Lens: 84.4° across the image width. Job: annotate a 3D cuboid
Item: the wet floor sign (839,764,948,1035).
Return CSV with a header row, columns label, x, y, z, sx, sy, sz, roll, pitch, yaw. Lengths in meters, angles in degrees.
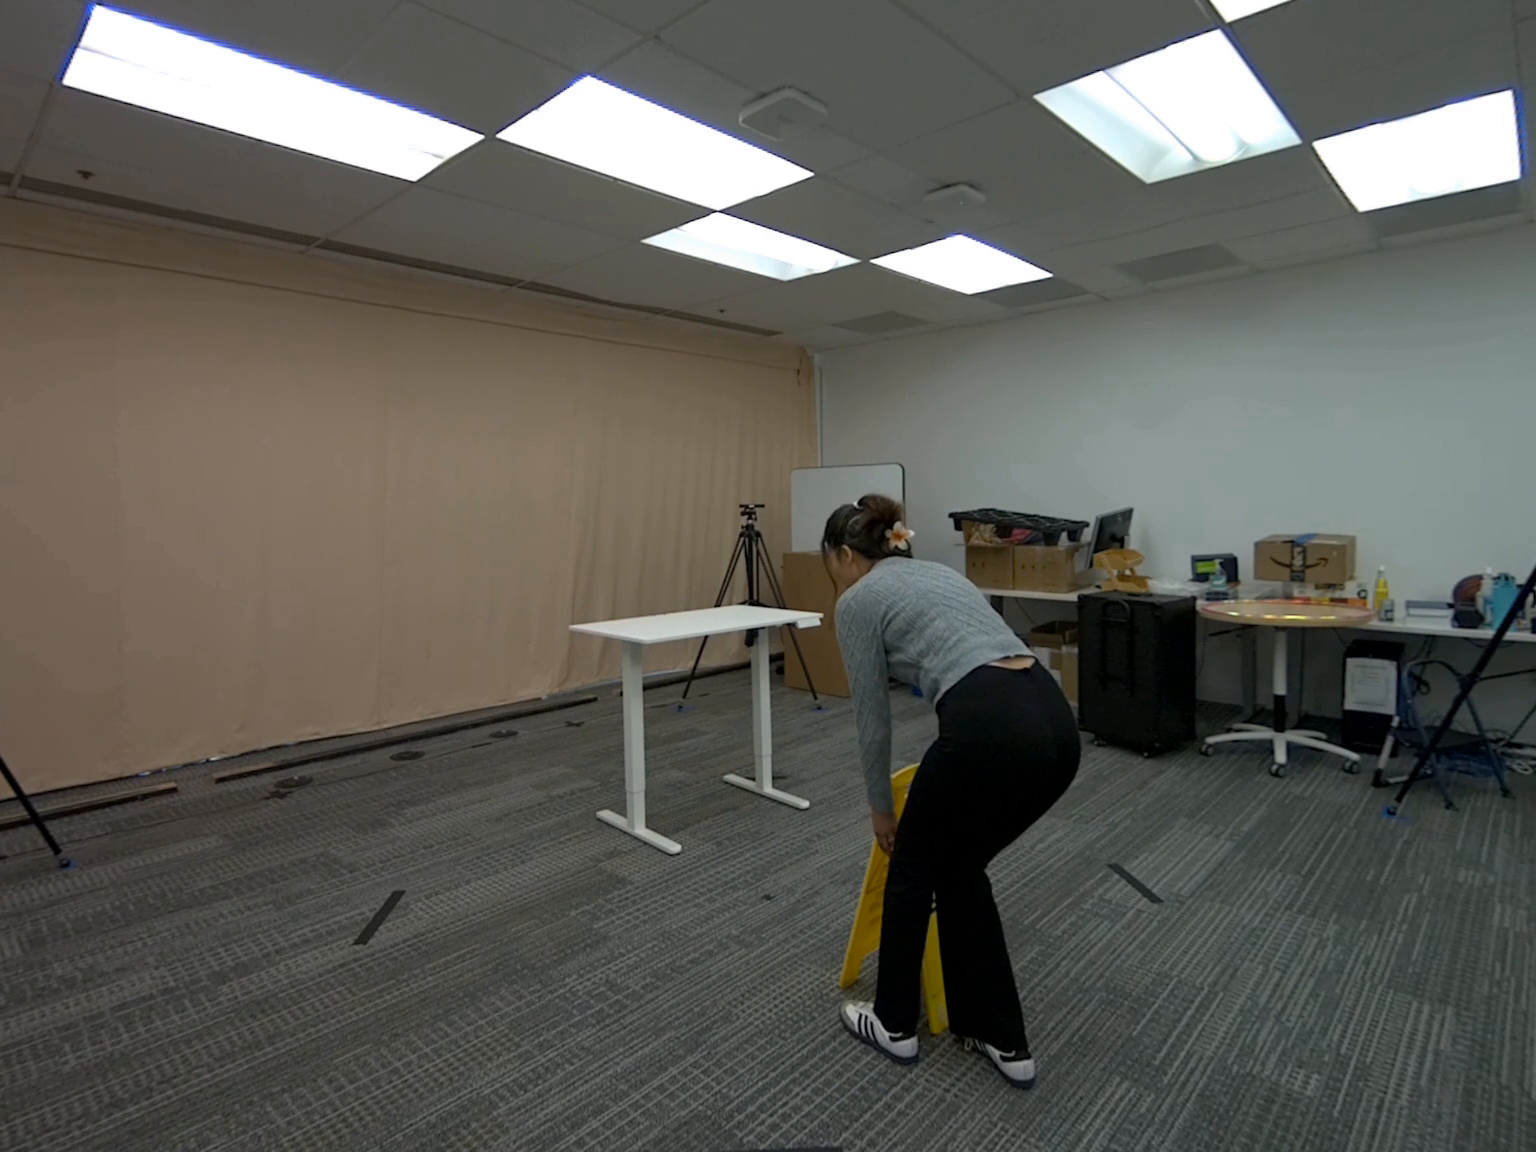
label,x,y,z,sx,sy,sz,roll,pitch,yaw
wet floor sign,0.412,0.864,2.384,0.299,0.644,0.274,4,6,45
